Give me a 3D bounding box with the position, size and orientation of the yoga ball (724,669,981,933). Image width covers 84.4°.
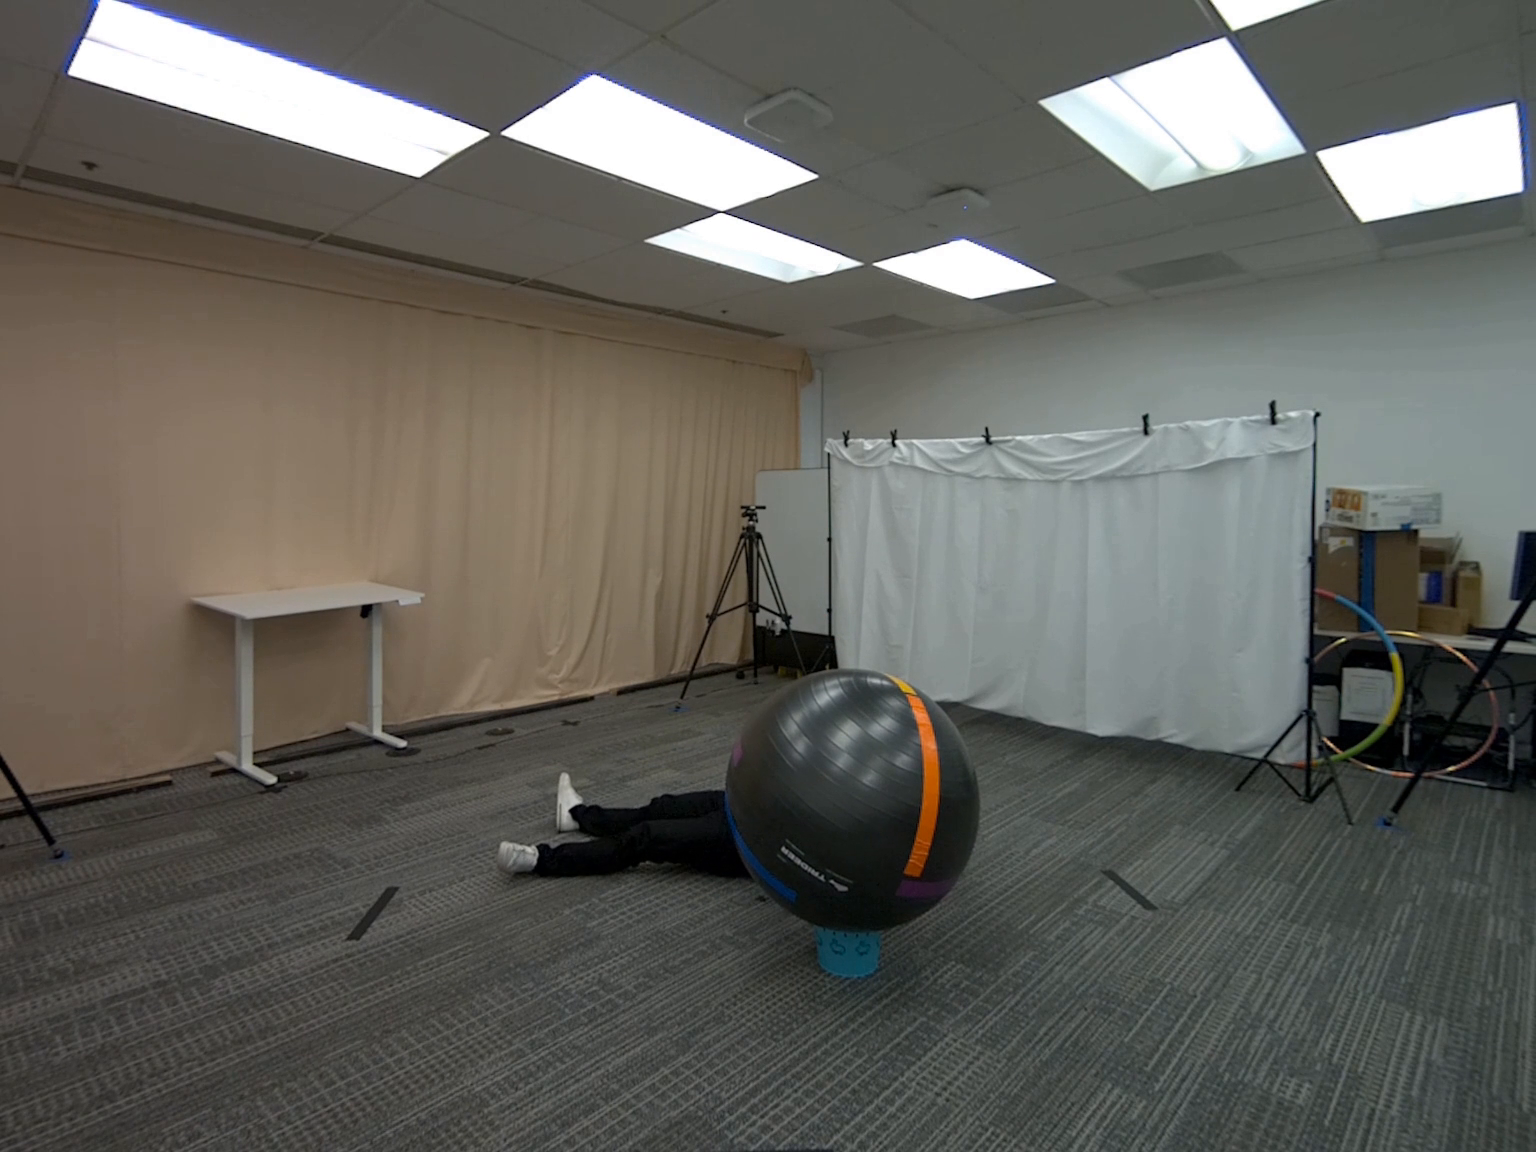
[{"bbox_3d":[0.259,0.669,2.551,0.757,0.756,0.760,0,4,-2],"label":"yoga ball"}]
